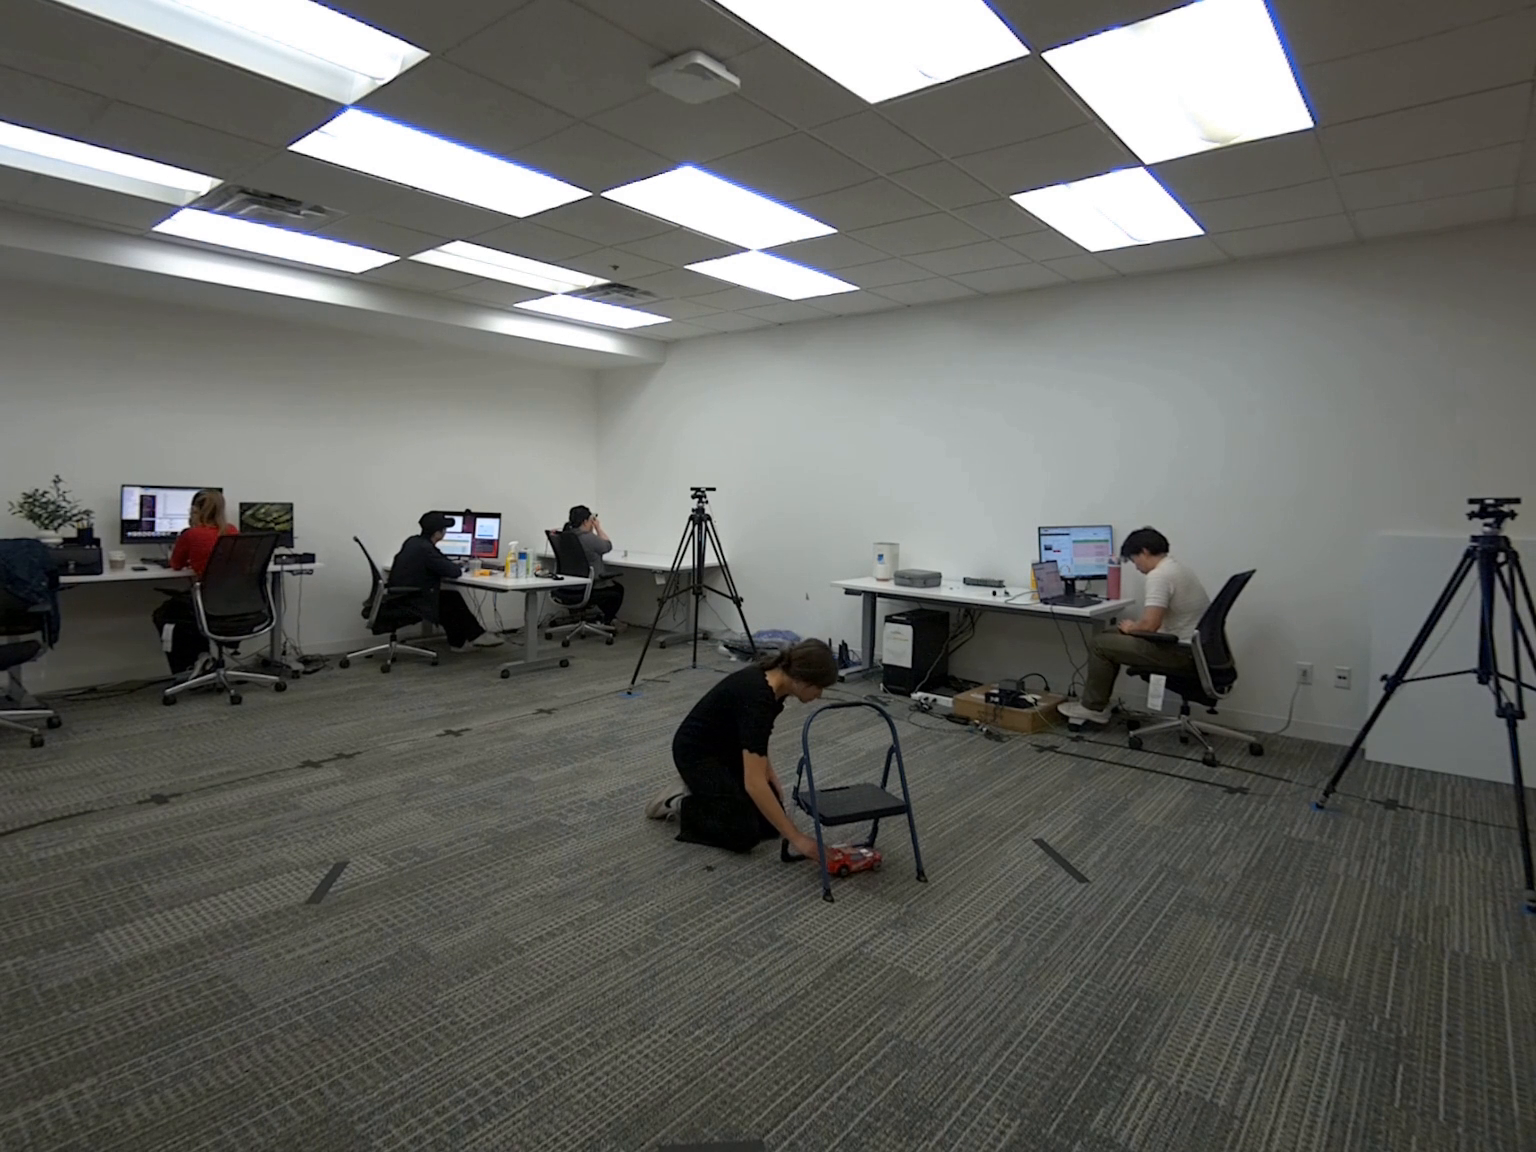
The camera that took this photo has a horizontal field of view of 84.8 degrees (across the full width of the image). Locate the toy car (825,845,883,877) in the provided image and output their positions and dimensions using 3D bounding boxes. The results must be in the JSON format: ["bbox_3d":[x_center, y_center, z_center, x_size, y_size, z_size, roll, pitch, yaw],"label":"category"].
[{"bbox_3d":[0.286,1.051,3.125,0.248,0.083,0.133,11,0,-21],"label":"toy car"}]
